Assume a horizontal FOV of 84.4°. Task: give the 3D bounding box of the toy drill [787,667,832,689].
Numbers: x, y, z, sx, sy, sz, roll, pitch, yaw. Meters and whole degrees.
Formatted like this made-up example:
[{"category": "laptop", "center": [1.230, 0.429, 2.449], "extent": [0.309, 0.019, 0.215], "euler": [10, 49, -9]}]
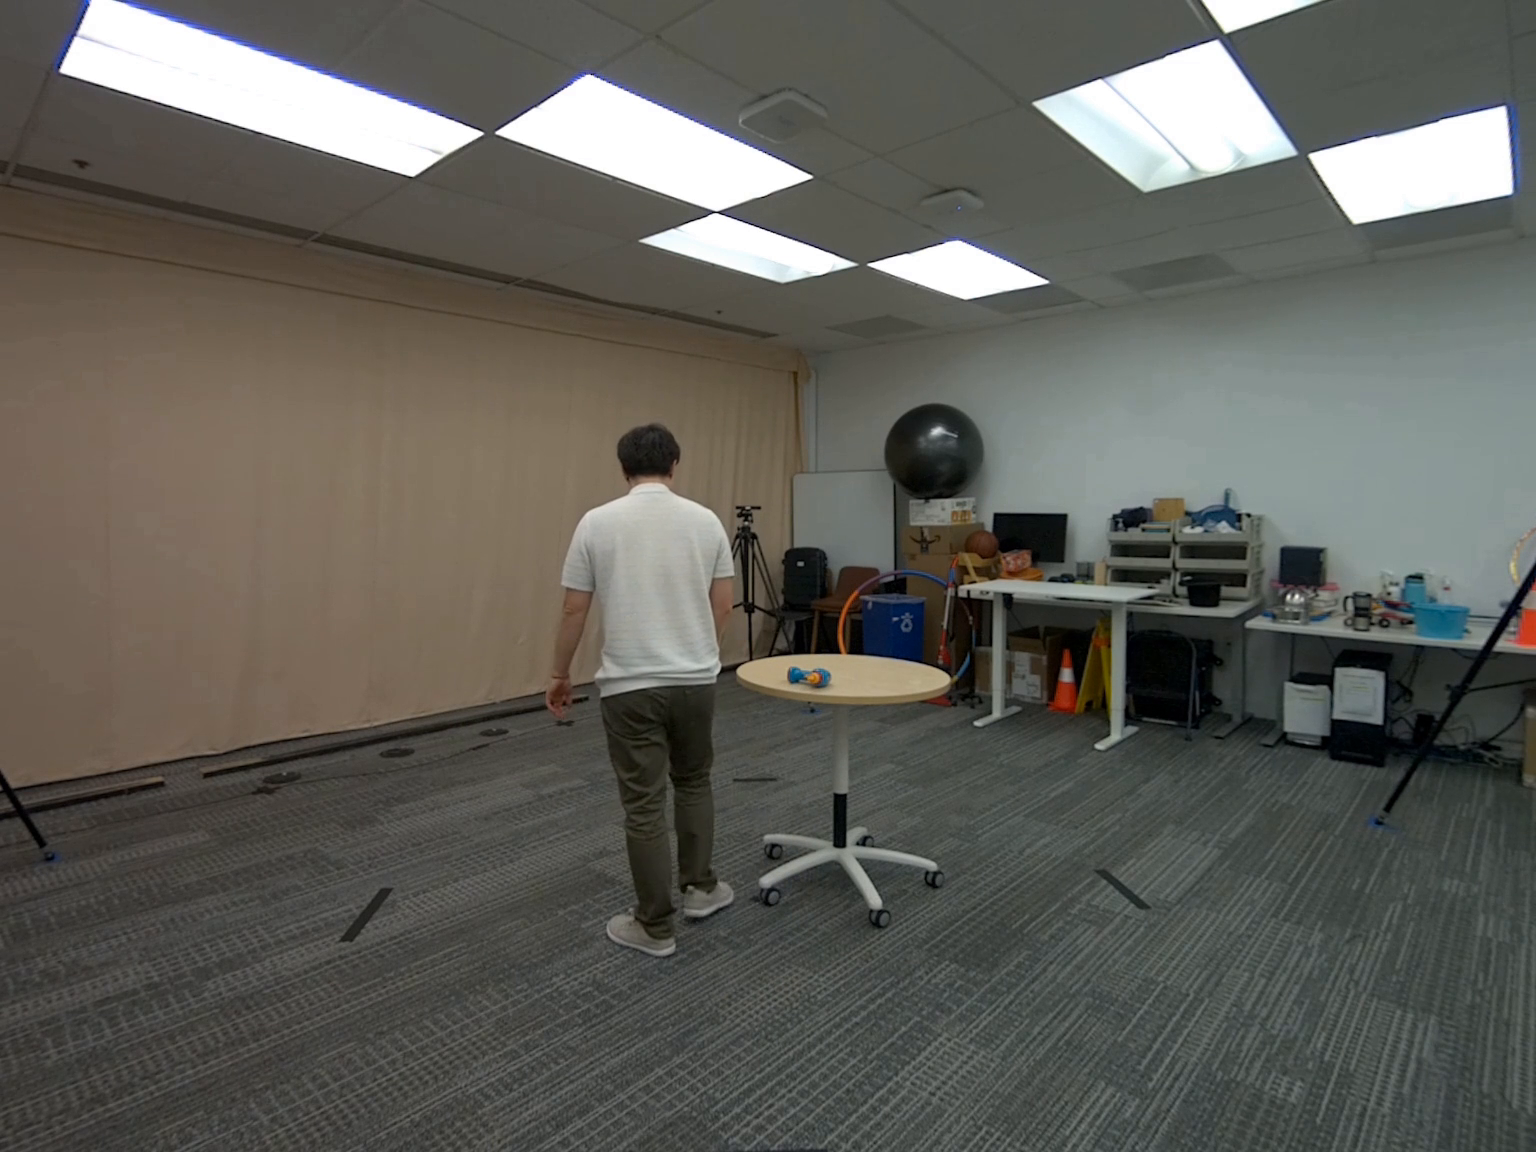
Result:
[{"category": "toy drill", "center": [0.137, 0.341, 2.819], "extent": [0.150, 0.061, 0.165], "euler": [1, -2, 24]}]
